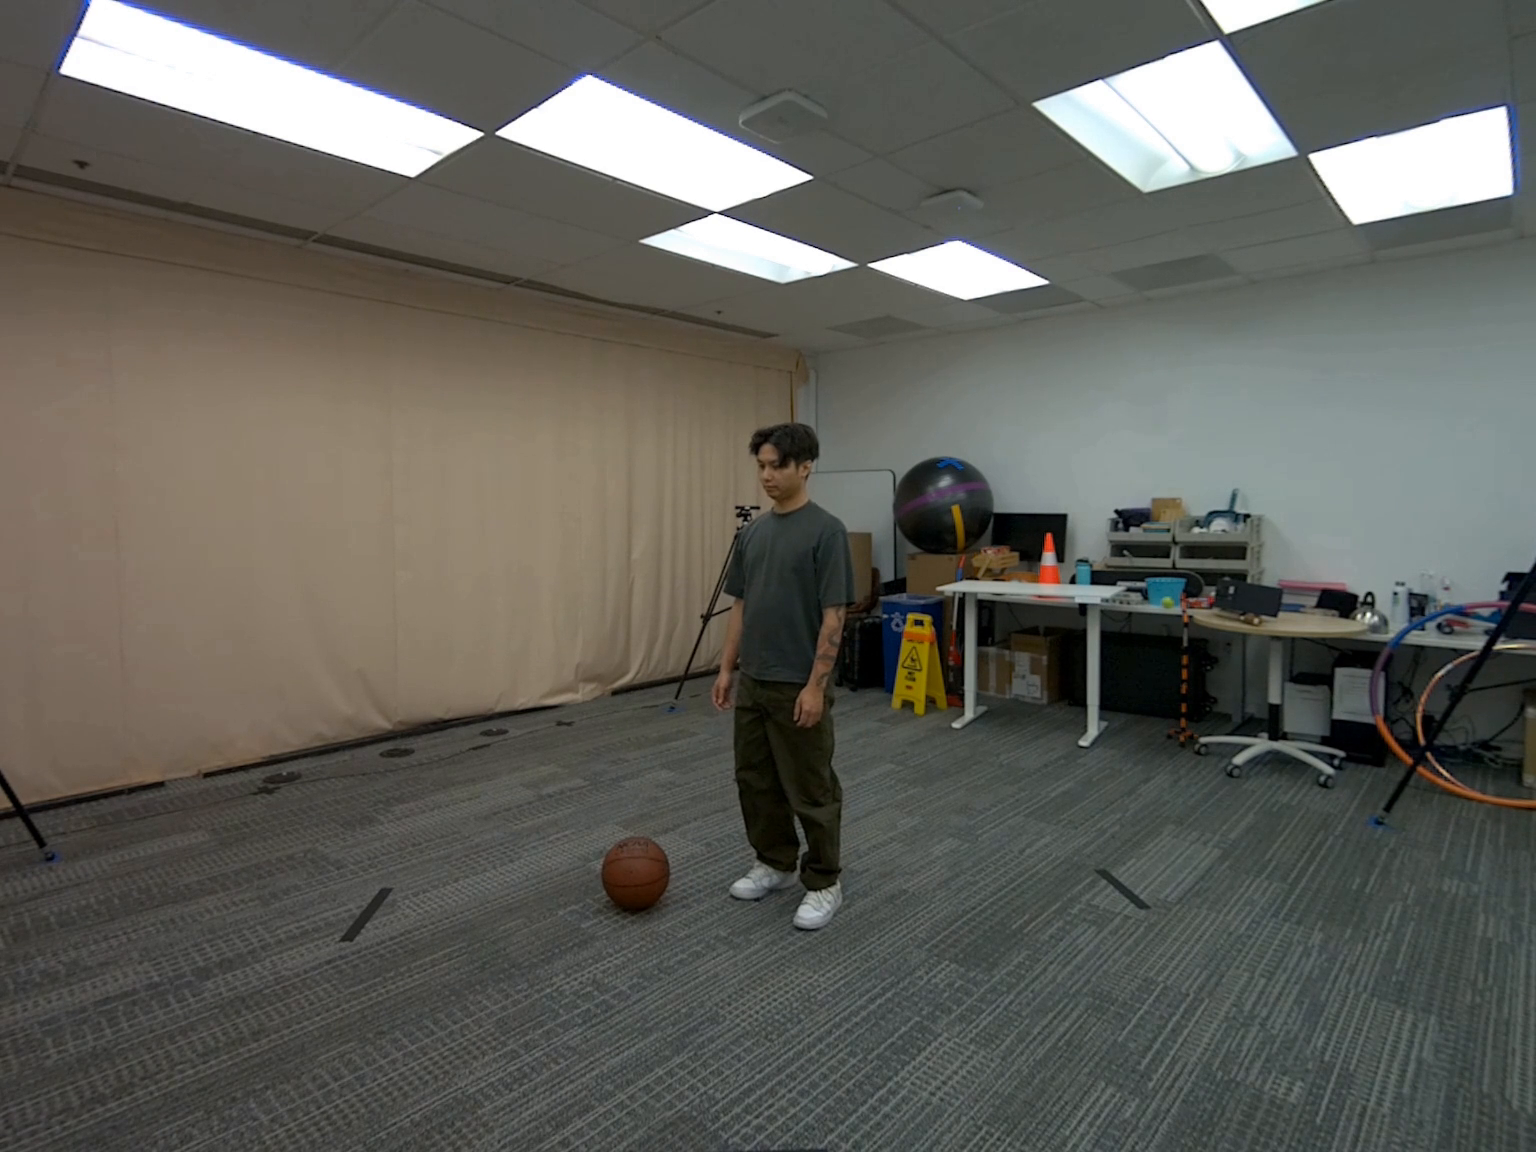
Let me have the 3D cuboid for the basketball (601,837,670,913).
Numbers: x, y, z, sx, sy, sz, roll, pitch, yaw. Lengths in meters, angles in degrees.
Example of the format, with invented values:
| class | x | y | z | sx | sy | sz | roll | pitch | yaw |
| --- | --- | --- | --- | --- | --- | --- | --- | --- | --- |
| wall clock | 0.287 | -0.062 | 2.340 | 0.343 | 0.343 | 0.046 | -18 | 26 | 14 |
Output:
| class | x | y | z | sx | sy | sz | roll | pitch | yaw |
| --- | --- | --- | --- | --- | --- | --- | --- | --- | --- |
| basketball | -0.457 | 1.038 | 2.924 | 0.236 | 0.235 | 0.237 | 0 | 4 | -2 |
